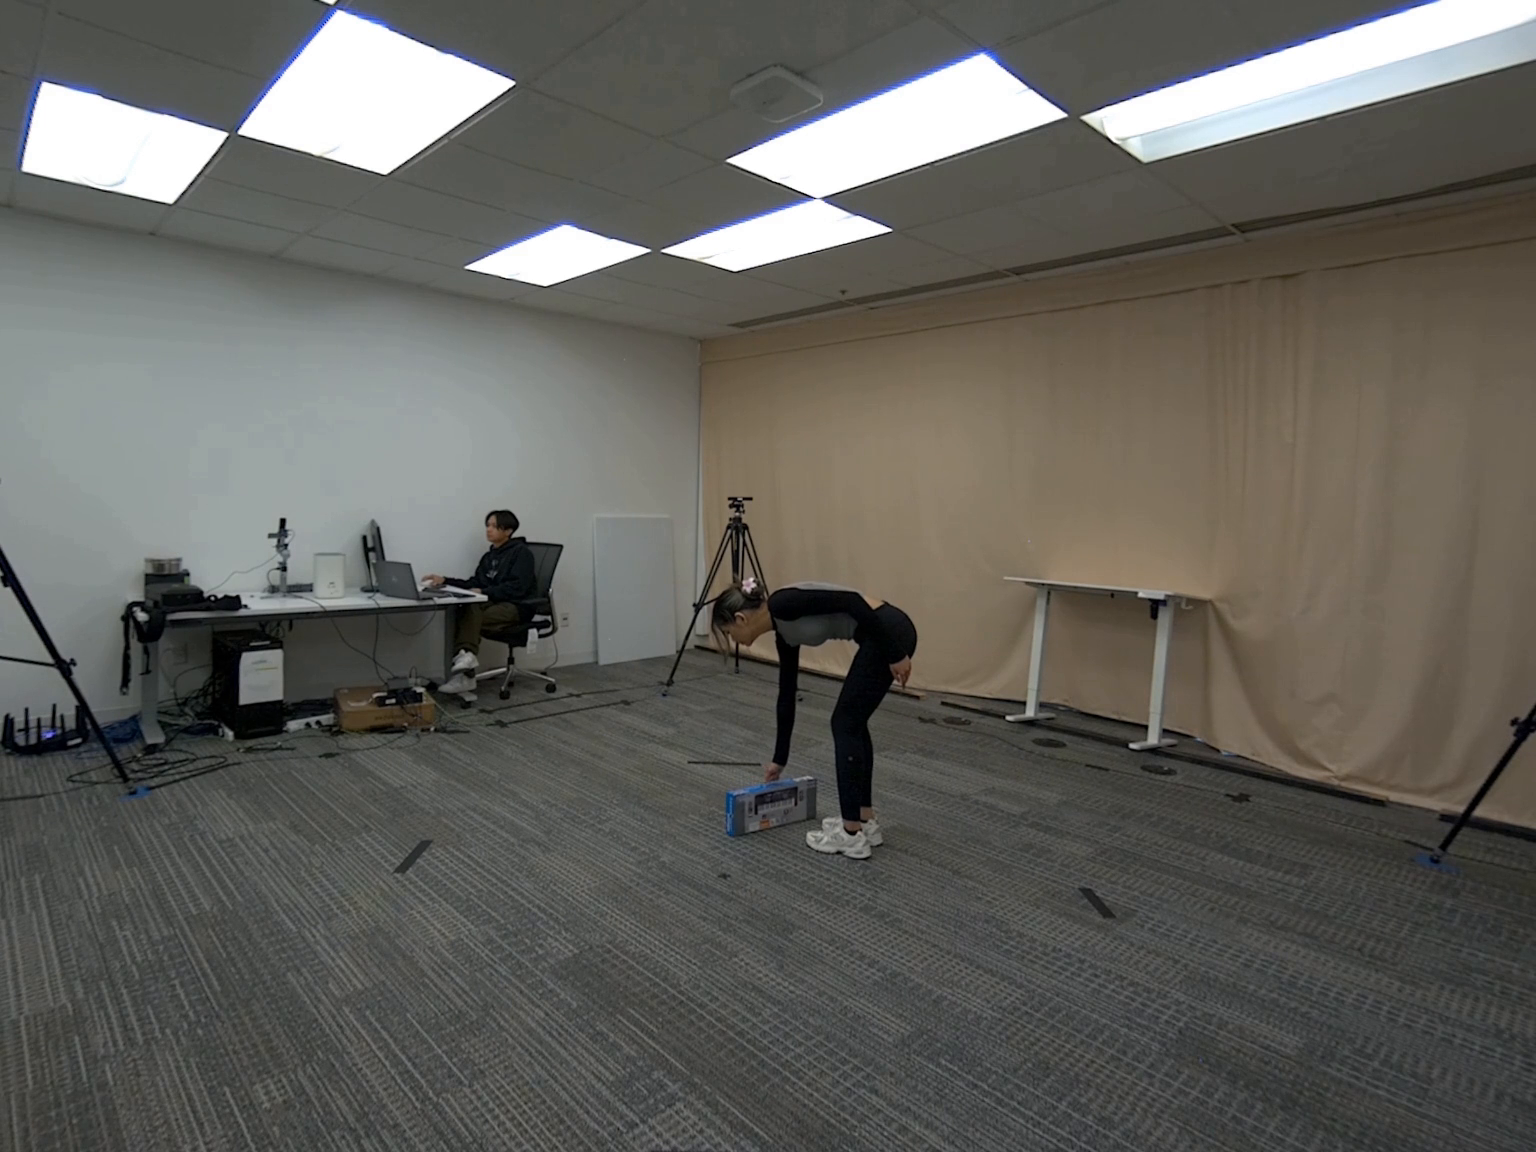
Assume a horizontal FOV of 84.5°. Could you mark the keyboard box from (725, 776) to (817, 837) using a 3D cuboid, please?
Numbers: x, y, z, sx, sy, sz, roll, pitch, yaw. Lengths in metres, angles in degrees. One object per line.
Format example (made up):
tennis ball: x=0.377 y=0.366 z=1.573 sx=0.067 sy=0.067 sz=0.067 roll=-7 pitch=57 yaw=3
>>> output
keyboard box: x=0.009 y=0.978 z=3.601 sx=0.427 sy=0.175 sz=0.060 roll=-2 pitch=4 yaw=-34
